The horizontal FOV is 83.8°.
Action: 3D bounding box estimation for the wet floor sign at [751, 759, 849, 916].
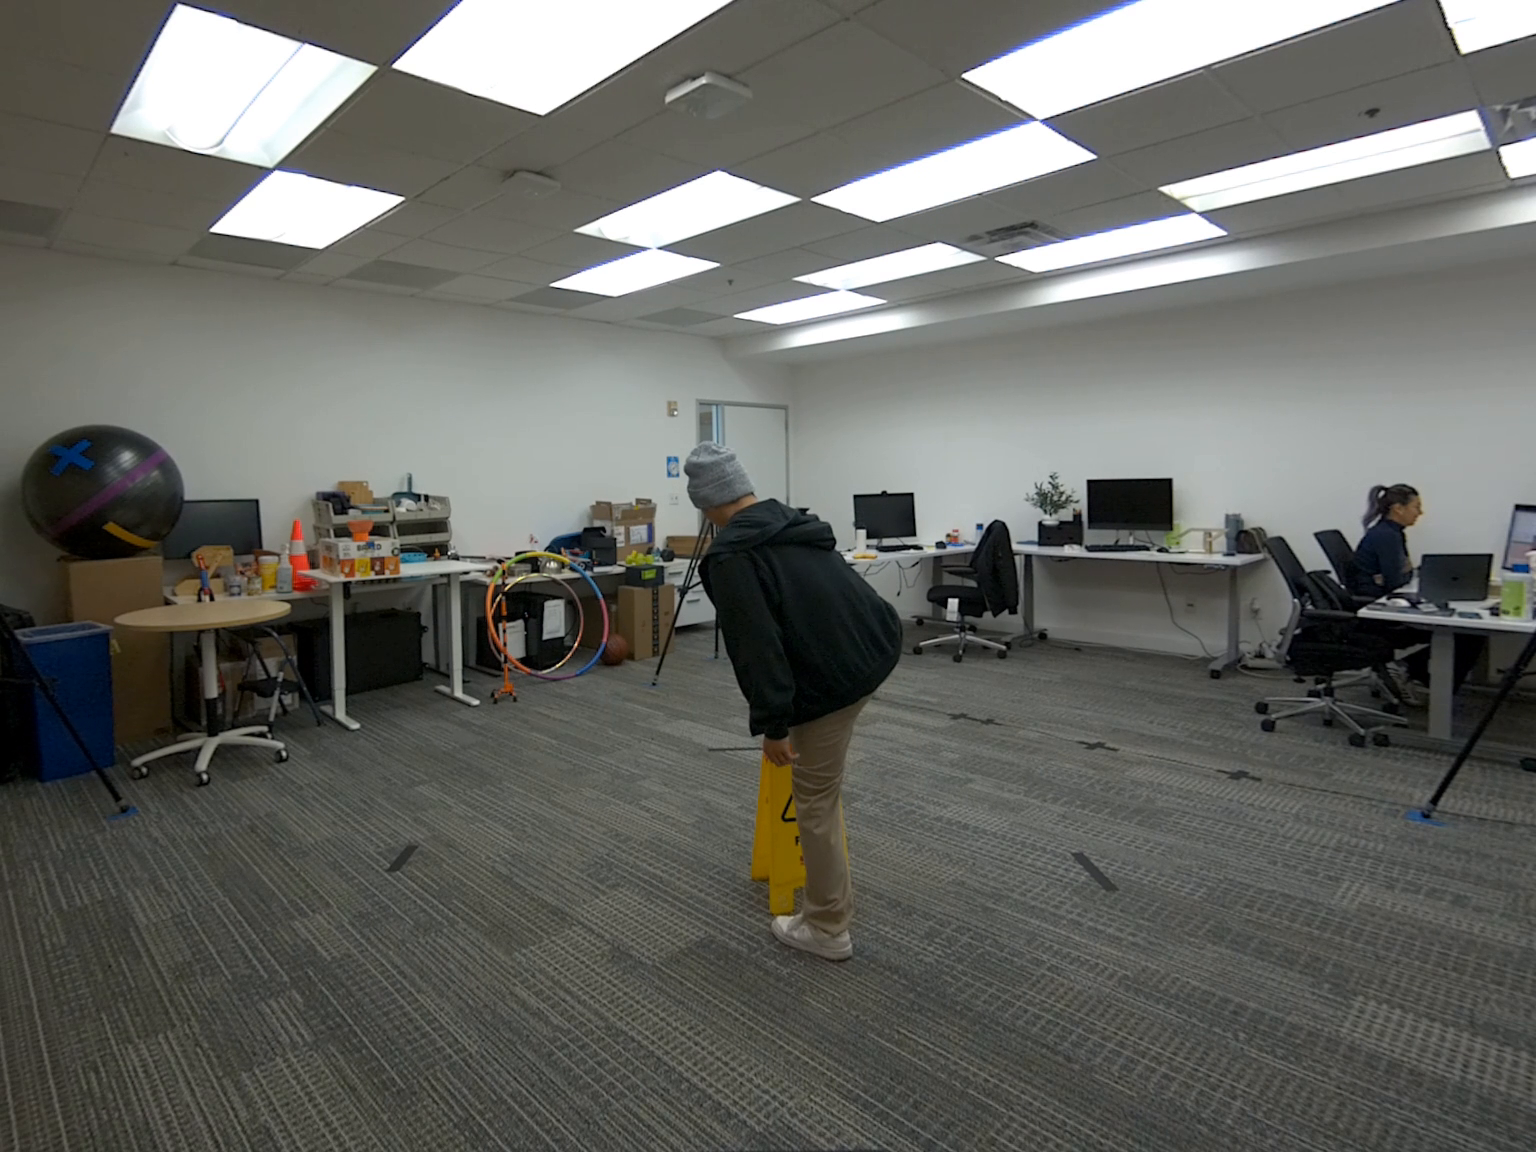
[{"bbox_3d":[0.110,0.741,2.866,0.279,0.644,0.294,-3,4,-13],"label":"wet floor sign"}]
